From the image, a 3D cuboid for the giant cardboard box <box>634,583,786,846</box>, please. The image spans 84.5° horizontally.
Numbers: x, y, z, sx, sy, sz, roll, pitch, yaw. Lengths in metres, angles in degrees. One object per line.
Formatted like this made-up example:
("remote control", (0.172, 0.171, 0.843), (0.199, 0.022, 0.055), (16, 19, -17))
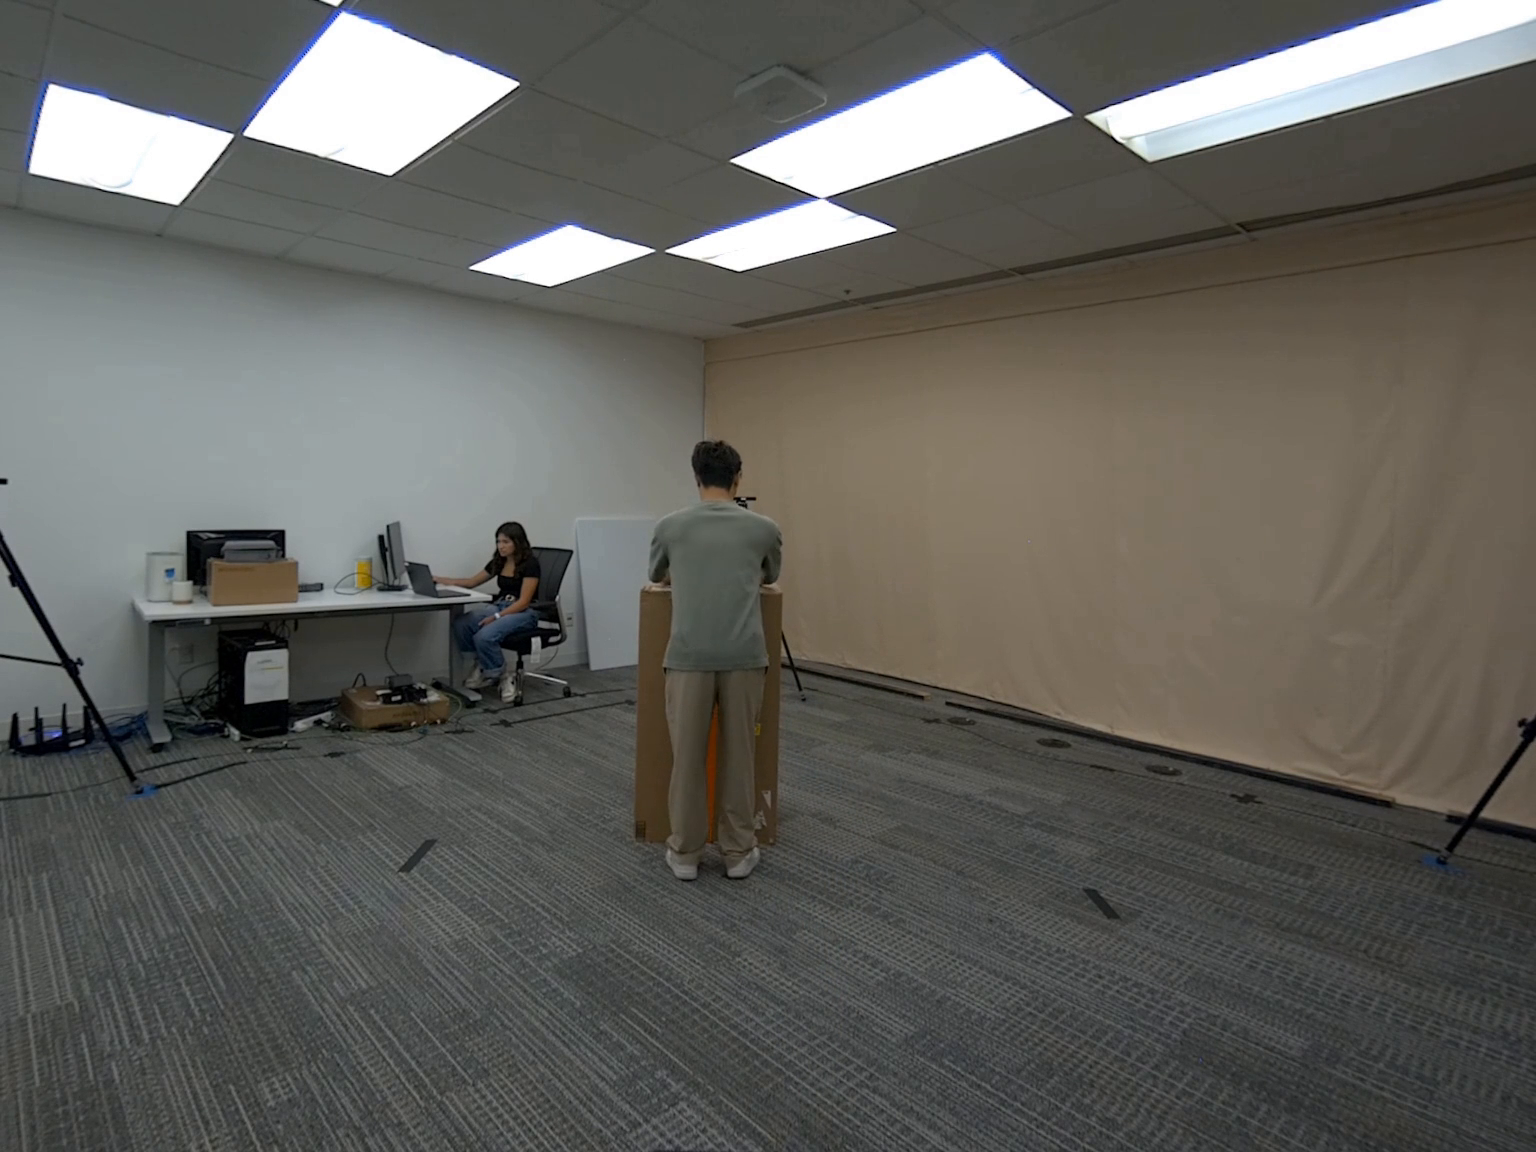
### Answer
("giant cardboard box", (-0.259, 0.552, 3.586), (0.576, 1.024, 0.428), (2, 3, -3))
